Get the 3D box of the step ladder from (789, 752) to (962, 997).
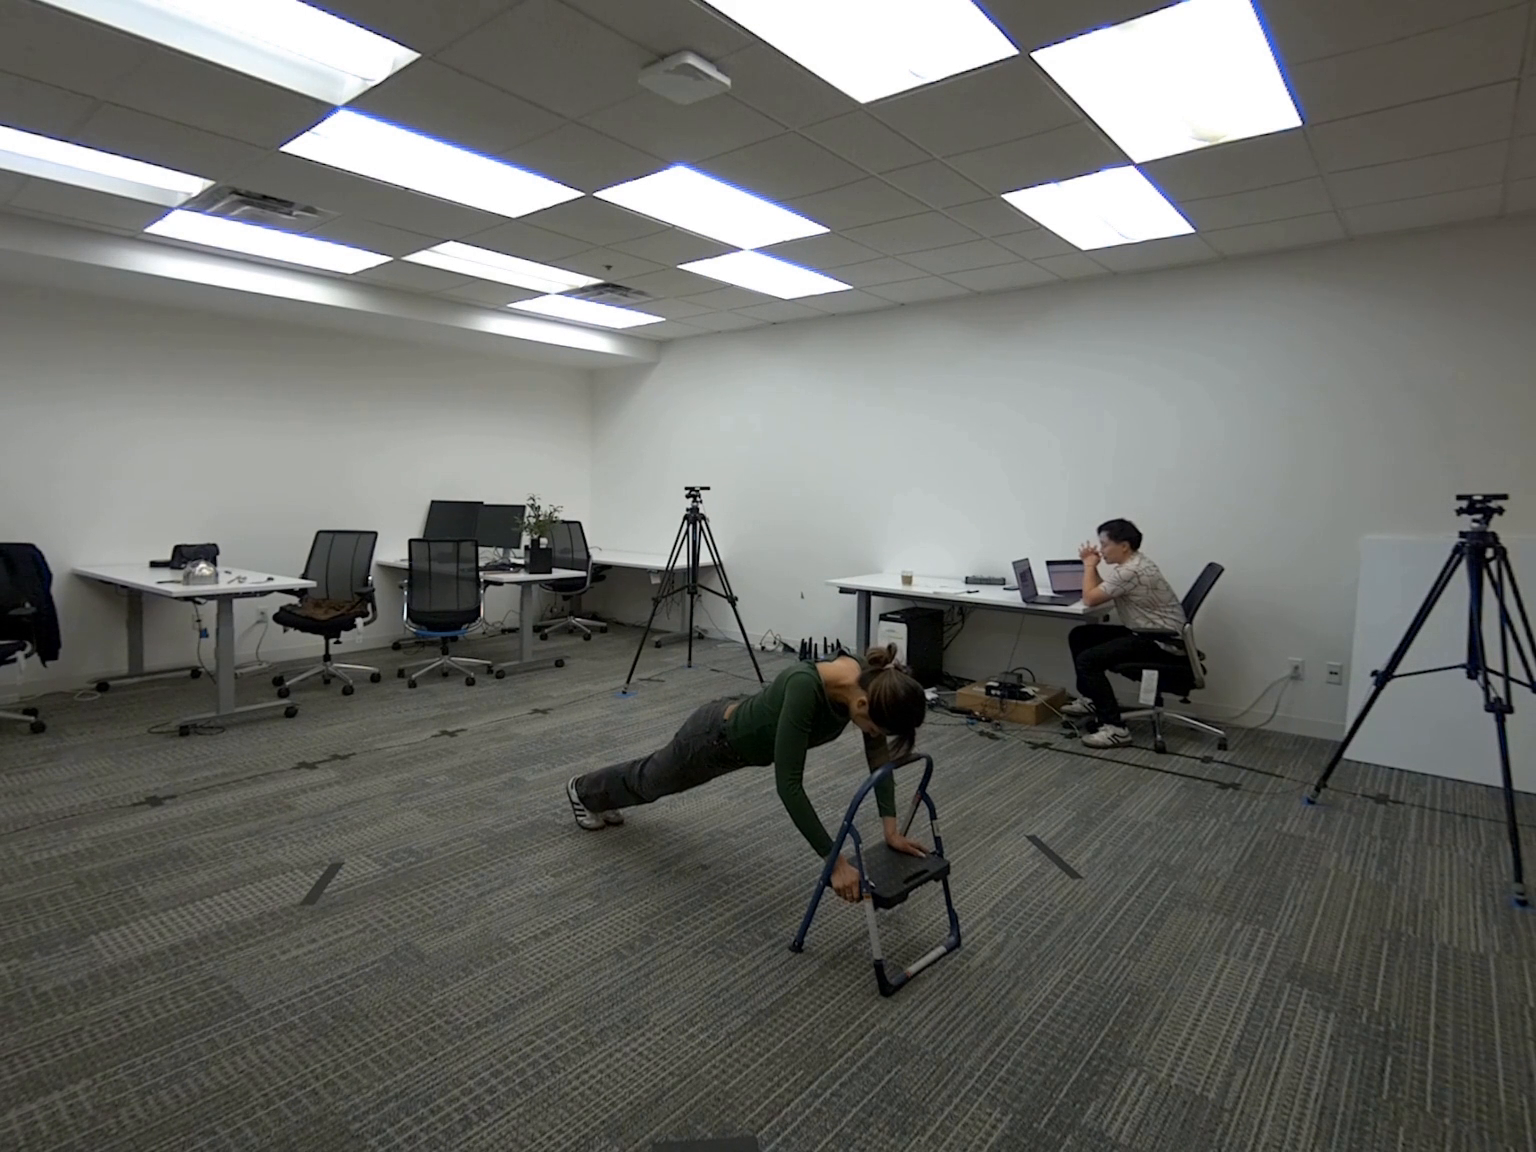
[{"bbox_3d":[0.333,0.827,2.578,0.361,0.604,0.417,5,5,43],"label":"step ladder"}]
